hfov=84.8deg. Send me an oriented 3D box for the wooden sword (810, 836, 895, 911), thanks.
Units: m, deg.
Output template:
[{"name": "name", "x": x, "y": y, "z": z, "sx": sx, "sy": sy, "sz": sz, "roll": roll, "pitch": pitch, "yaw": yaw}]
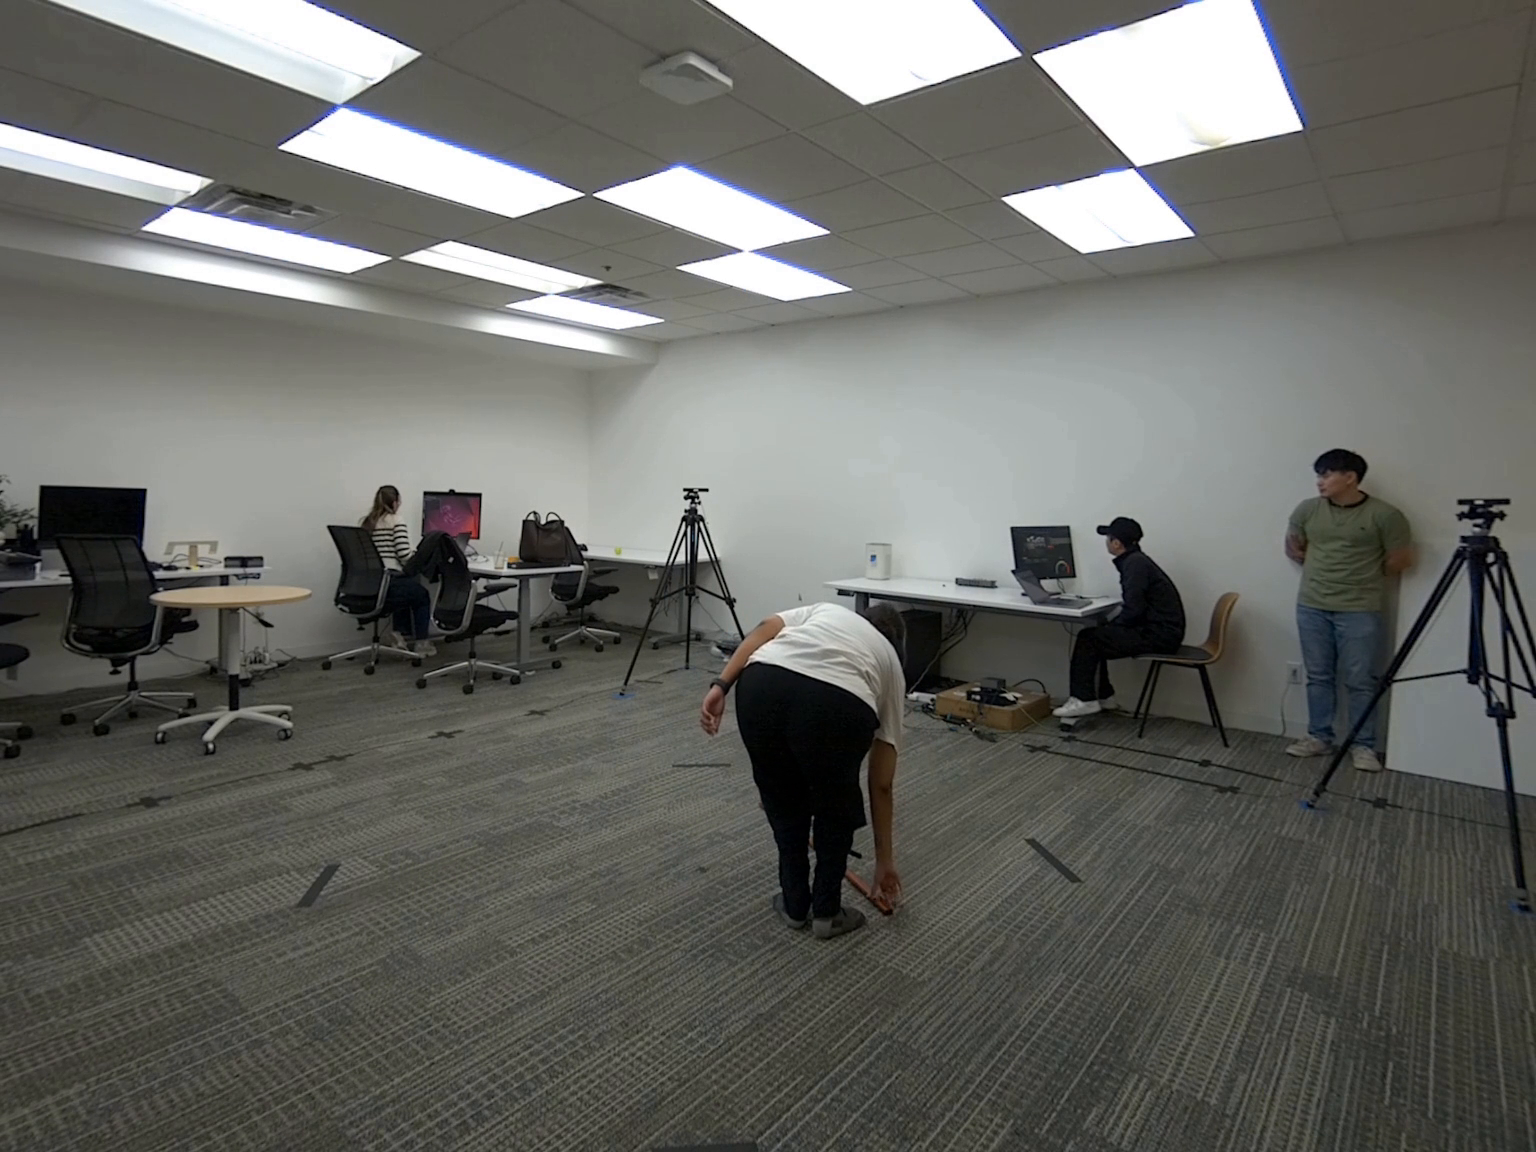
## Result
[{"name": "wooden sword", "x": 0.188, "y": 1.032, "z": 3.282, "sx": 0.050, "sy": 0.024, "sz": 1.051, "roll": 40, "pitch": -12, "yaw": -22}]
